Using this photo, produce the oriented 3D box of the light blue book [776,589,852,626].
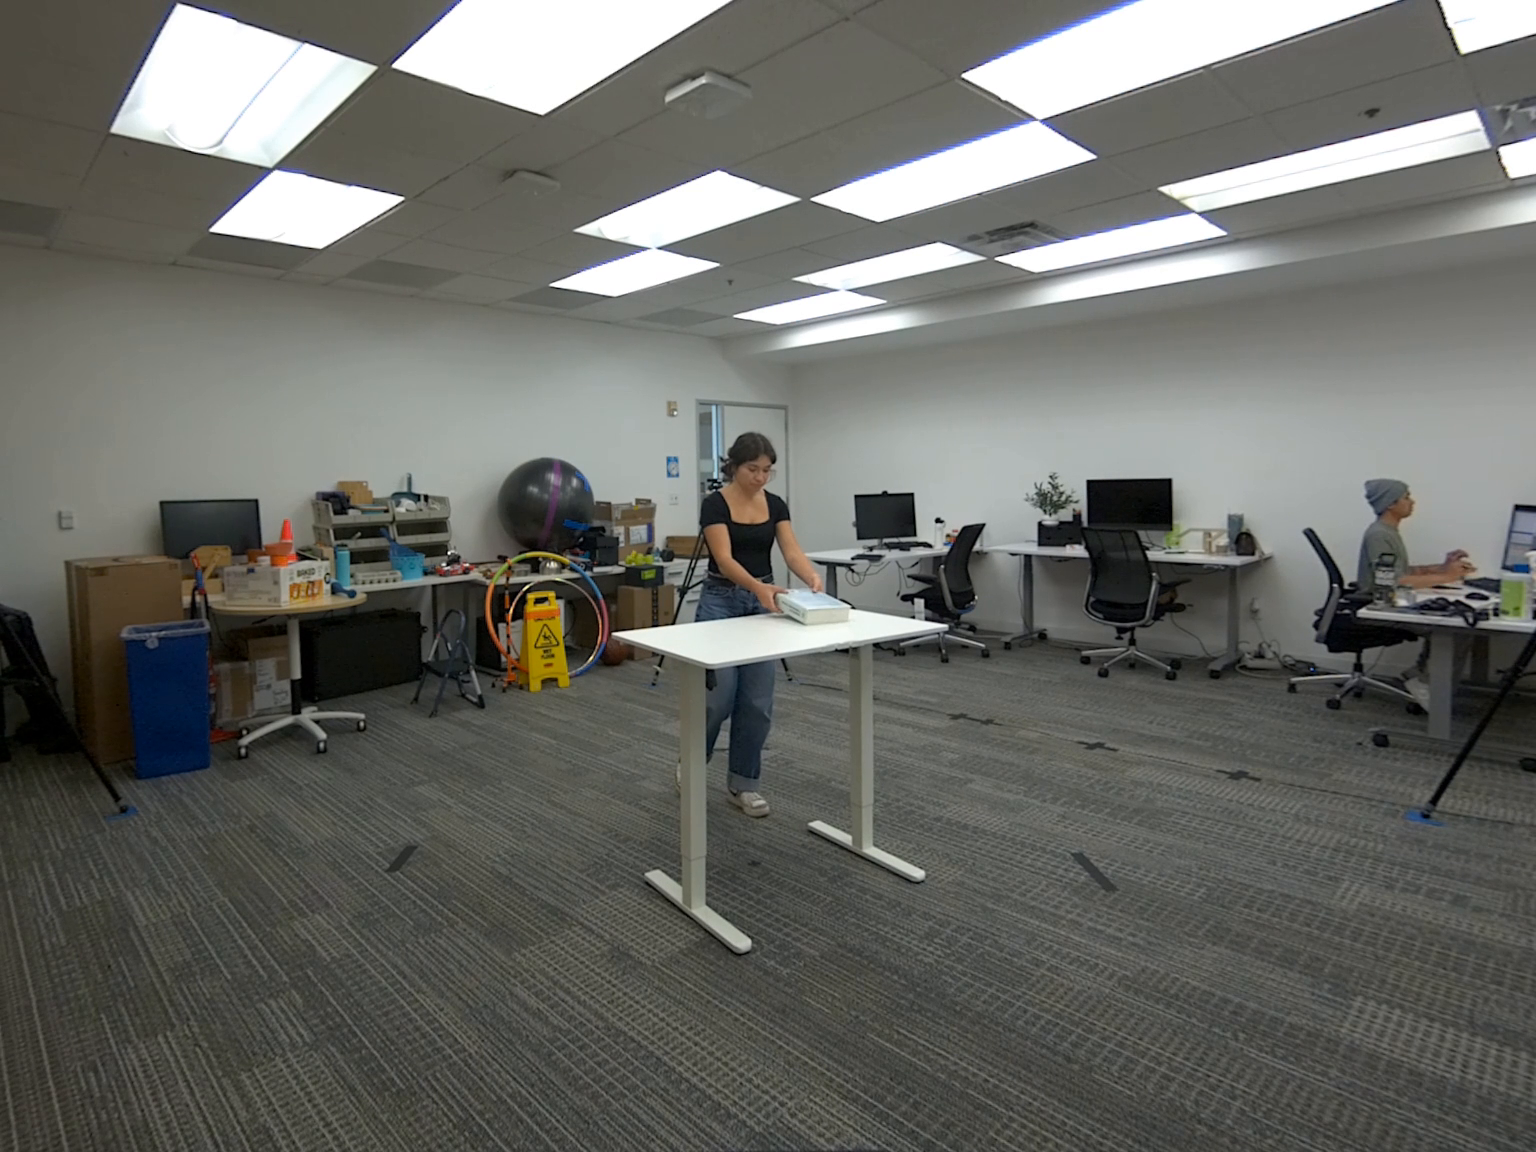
[{"bbox_3d":[0.175,0.115,3.131,0.187,0.058,0.269,0,12,-26],"label":"light blue book"}]
